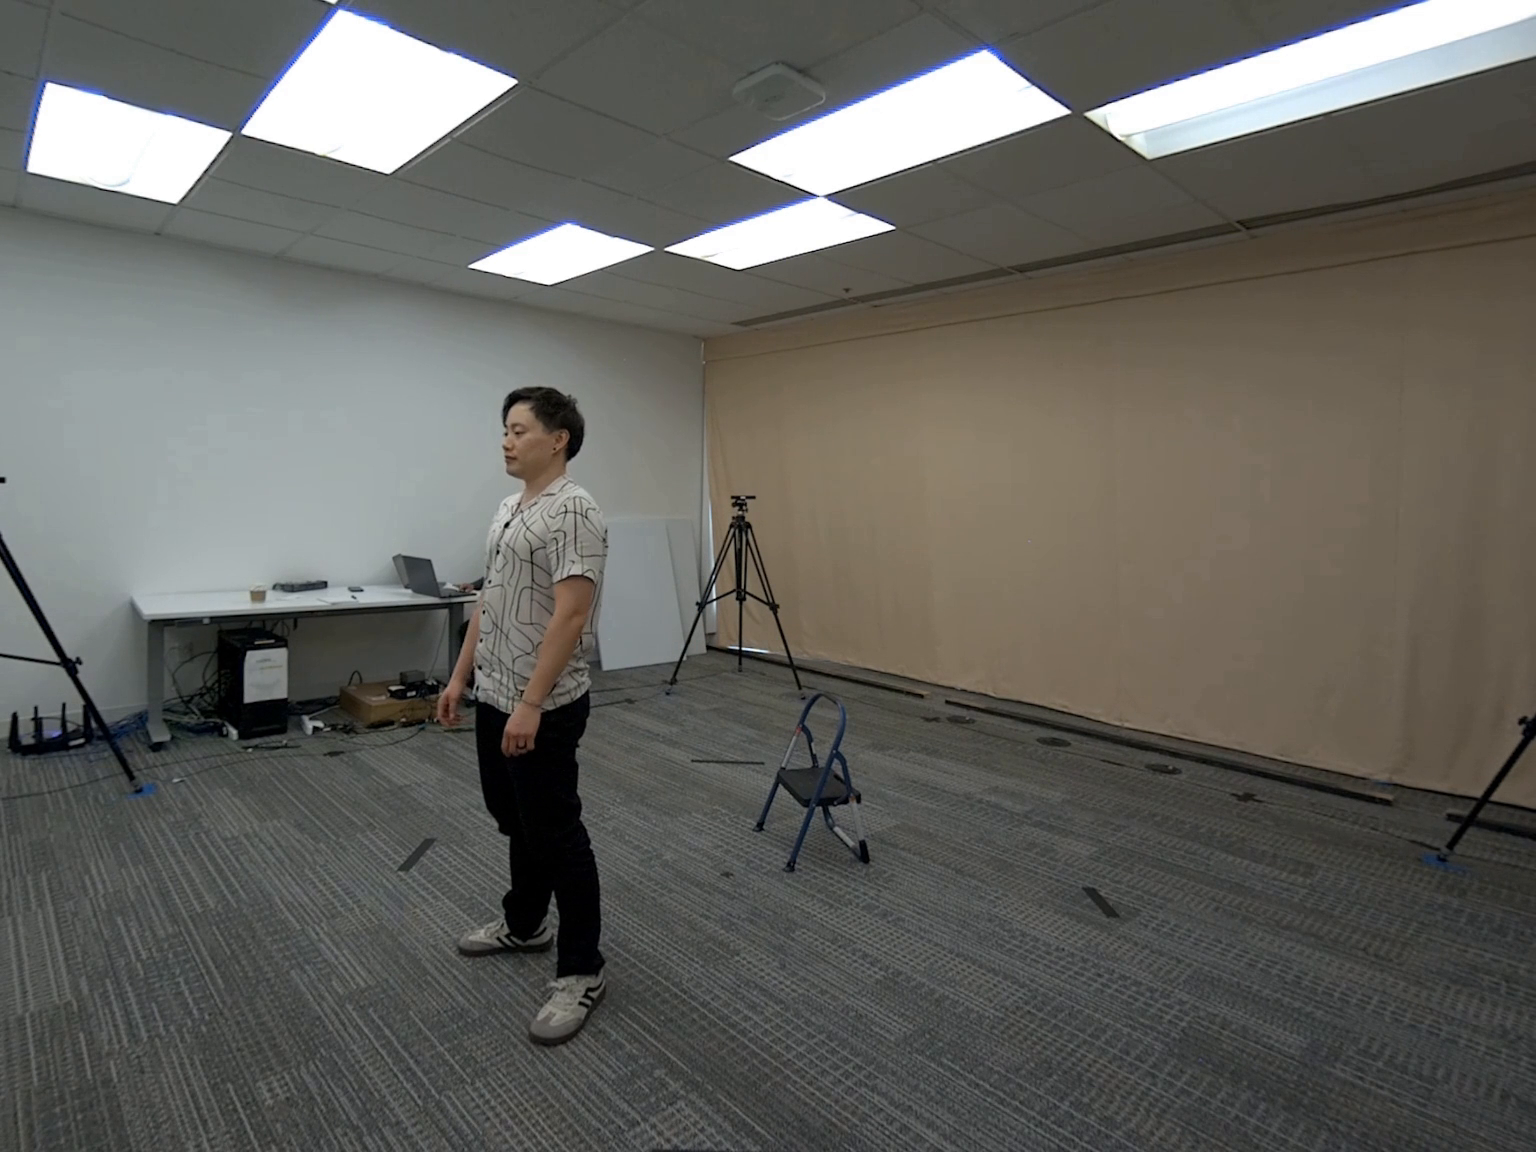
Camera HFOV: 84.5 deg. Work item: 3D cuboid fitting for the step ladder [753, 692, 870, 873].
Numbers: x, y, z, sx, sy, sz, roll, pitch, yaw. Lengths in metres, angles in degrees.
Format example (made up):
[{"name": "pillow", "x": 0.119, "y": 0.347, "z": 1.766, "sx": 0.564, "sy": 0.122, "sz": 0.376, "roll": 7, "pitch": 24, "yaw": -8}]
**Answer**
[{"name": "step ladder", "x": 0.170, "y": 0.783, "z": 3.365, "sx": 0.345, "sy": 0.605, "sz": 0.437, "roll": 1, "pitch": 4, "yaw": -17}]
